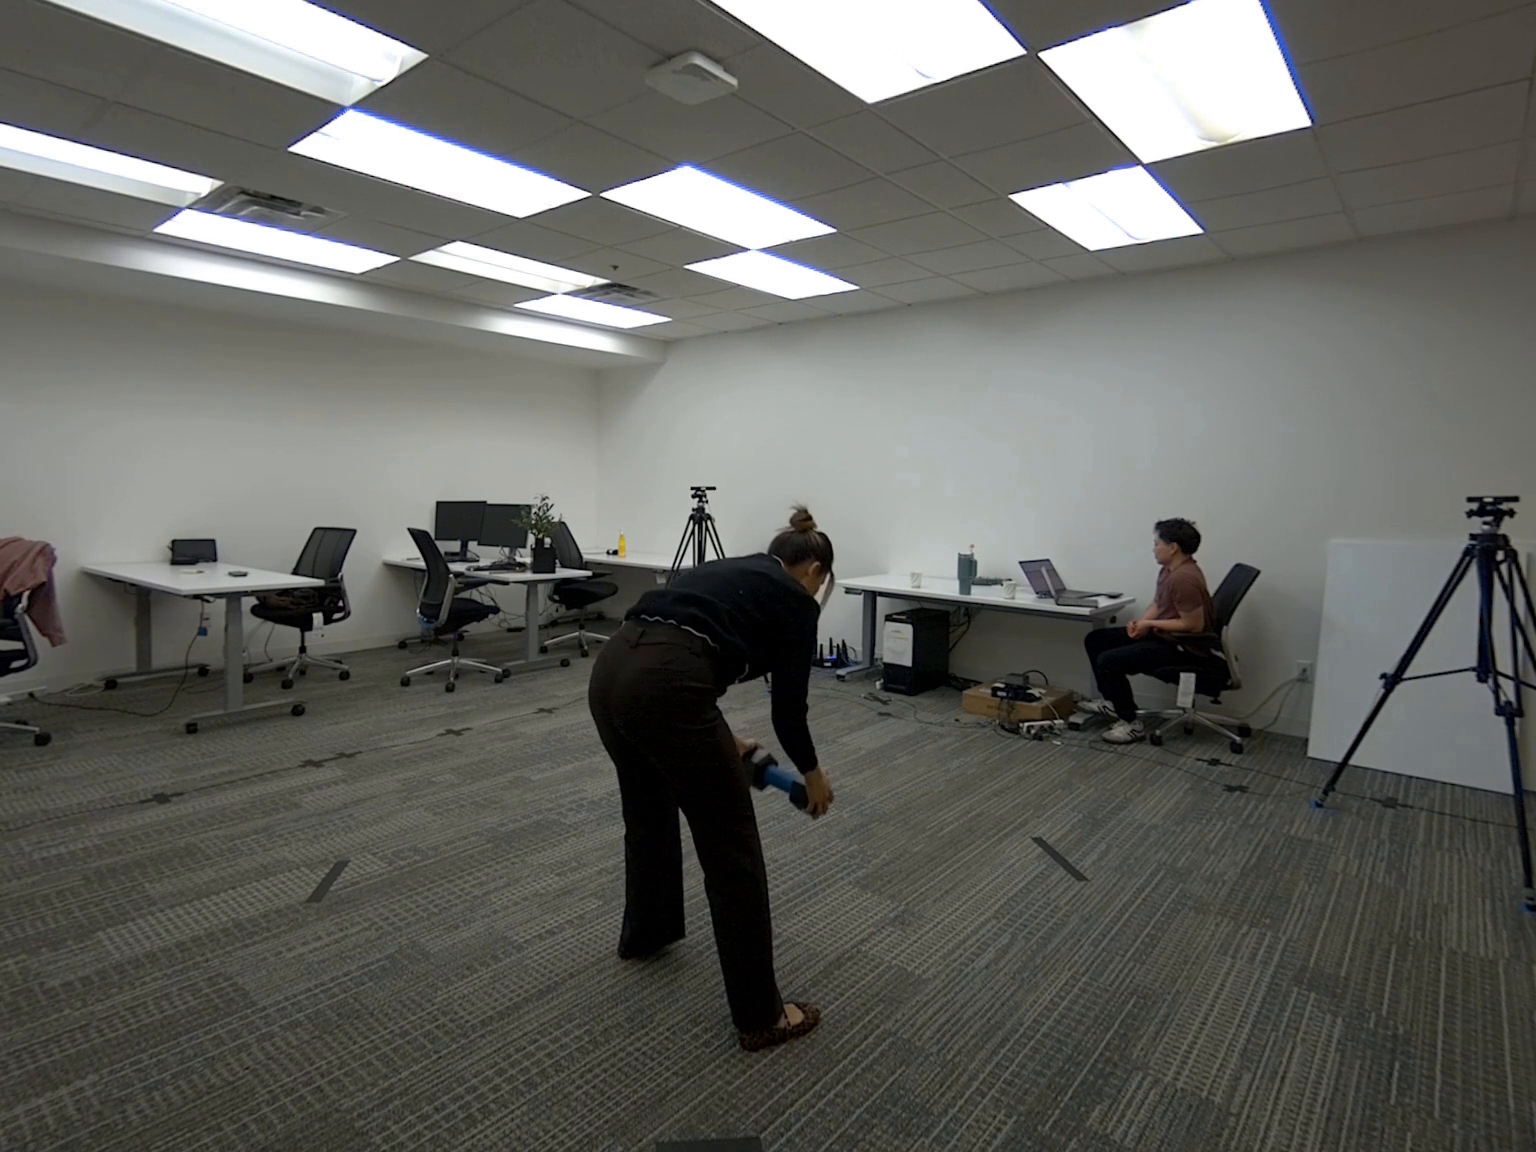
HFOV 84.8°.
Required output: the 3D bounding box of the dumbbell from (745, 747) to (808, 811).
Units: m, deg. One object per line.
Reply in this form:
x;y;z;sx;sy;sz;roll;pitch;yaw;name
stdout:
0.039;0.613;2.568;0.304;0.109;0.118;12;-29;45;dumbbell
